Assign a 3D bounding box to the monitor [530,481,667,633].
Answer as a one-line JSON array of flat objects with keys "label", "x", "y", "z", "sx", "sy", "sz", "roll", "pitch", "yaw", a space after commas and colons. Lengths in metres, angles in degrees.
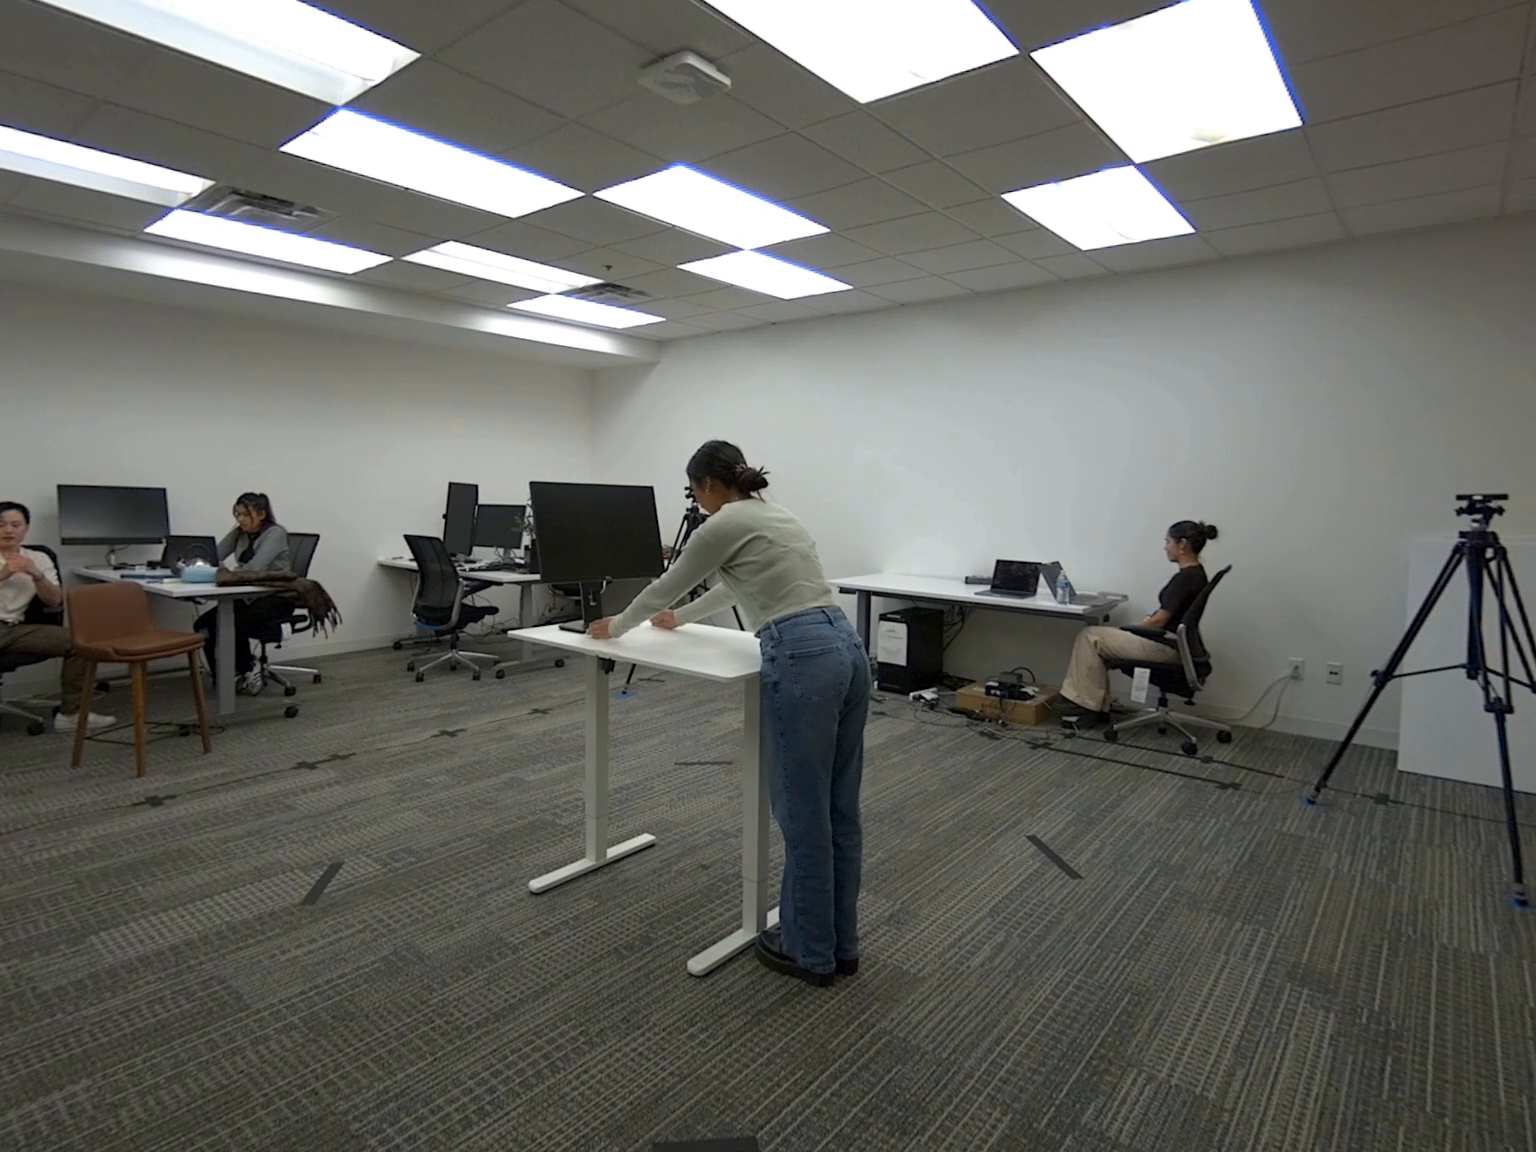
[{"label": "monitor", "x": -0.641, "y": -0.071, "z": 3.049, "sx": 0.193, "sy": 0.522, "sz": 0.522, "roll": 0, "pitch": 2, "yaw": 43}]
